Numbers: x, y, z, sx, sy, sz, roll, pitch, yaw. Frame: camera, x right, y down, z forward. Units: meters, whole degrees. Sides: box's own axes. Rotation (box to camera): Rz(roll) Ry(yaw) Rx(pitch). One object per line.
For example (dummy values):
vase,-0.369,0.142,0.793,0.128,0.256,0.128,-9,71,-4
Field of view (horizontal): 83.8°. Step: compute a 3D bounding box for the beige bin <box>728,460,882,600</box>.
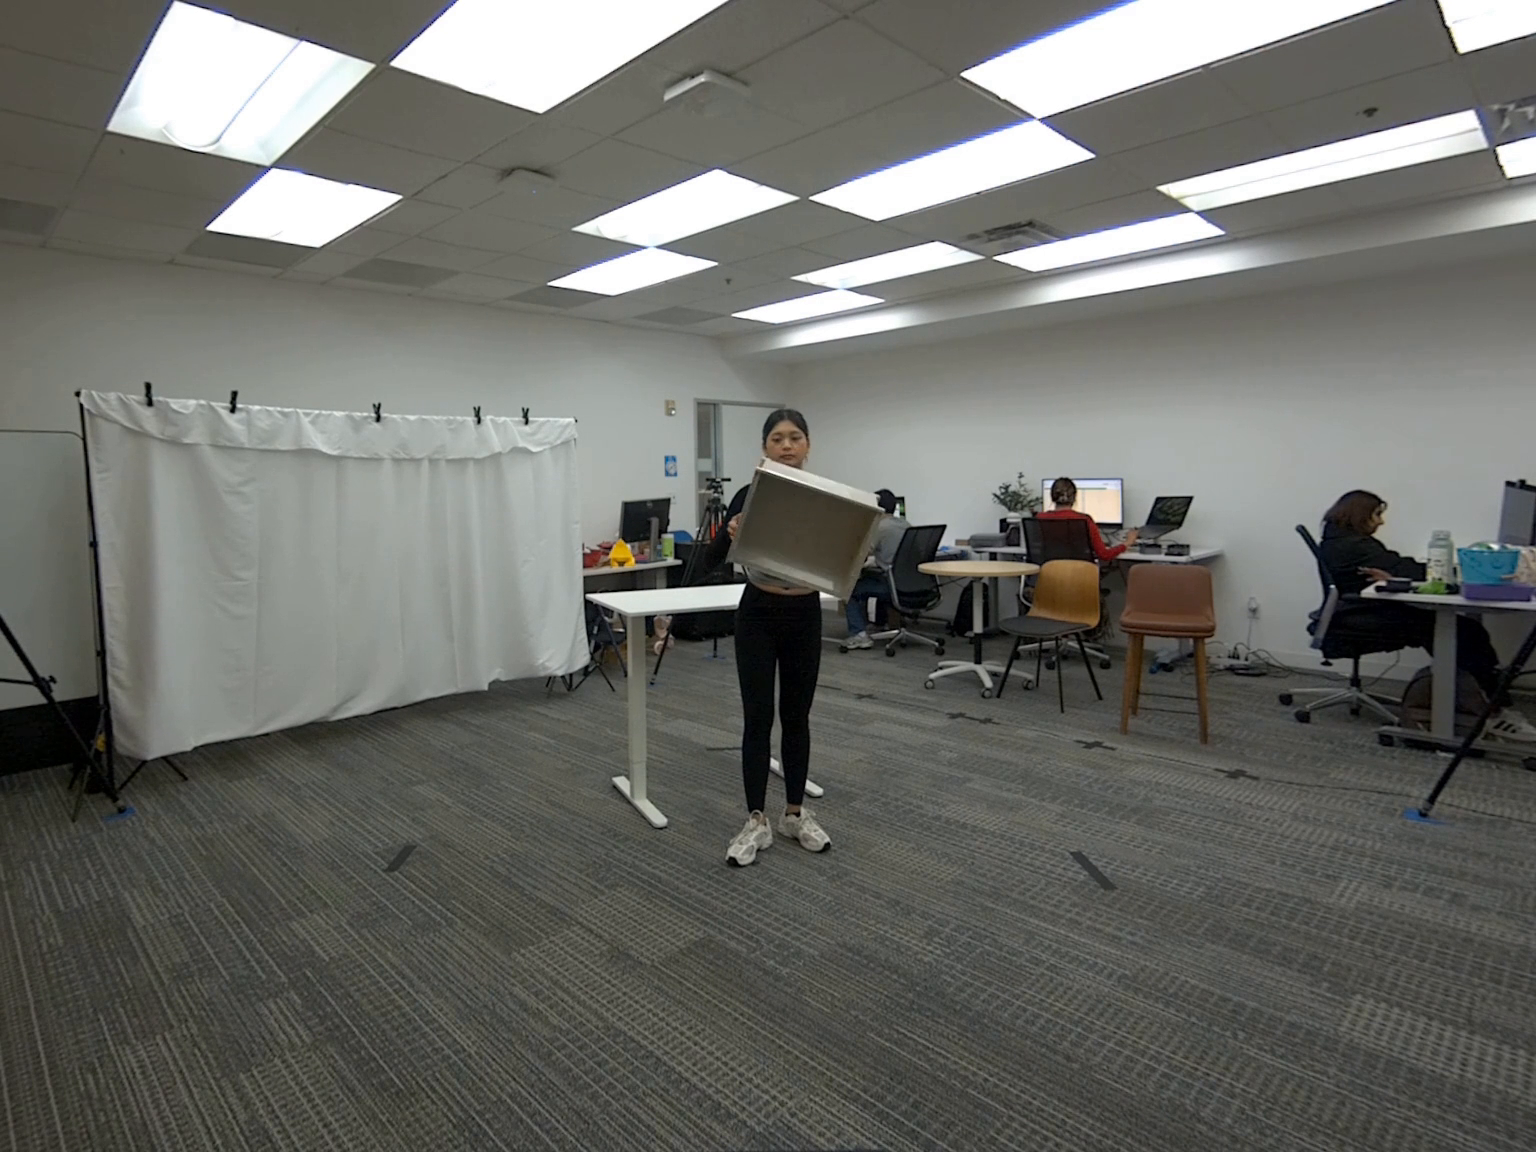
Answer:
beige bin,0.114,-0.143,2.803,0.423,0.373,0.191,18,22,0
